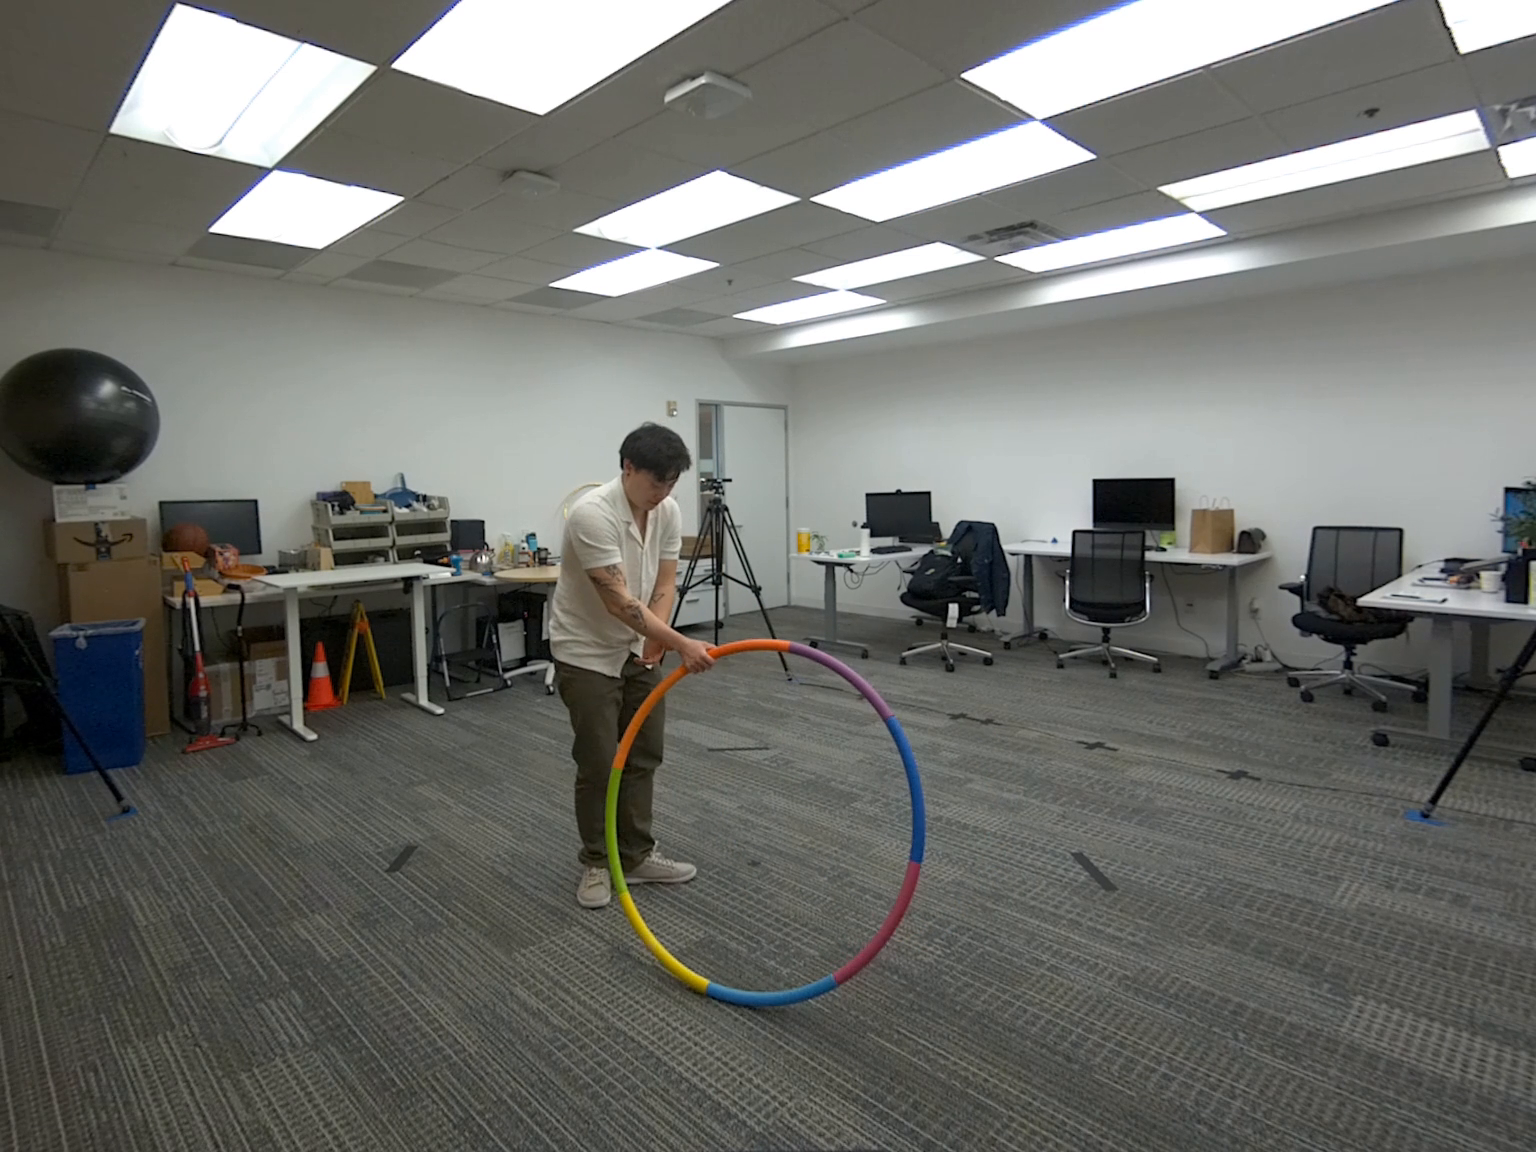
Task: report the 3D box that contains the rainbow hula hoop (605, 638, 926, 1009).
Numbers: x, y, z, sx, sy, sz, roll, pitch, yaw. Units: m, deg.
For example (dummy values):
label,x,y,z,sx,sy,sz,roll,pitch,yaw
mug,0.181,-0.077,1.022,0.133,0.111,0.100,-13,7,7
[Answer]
label,x,y,z,sx,sy,sz,roll,pitch,yaw
rainbow hula hoop,-0.048,0.670,2.430,1.002,0.991,0.034,1,-19,26
